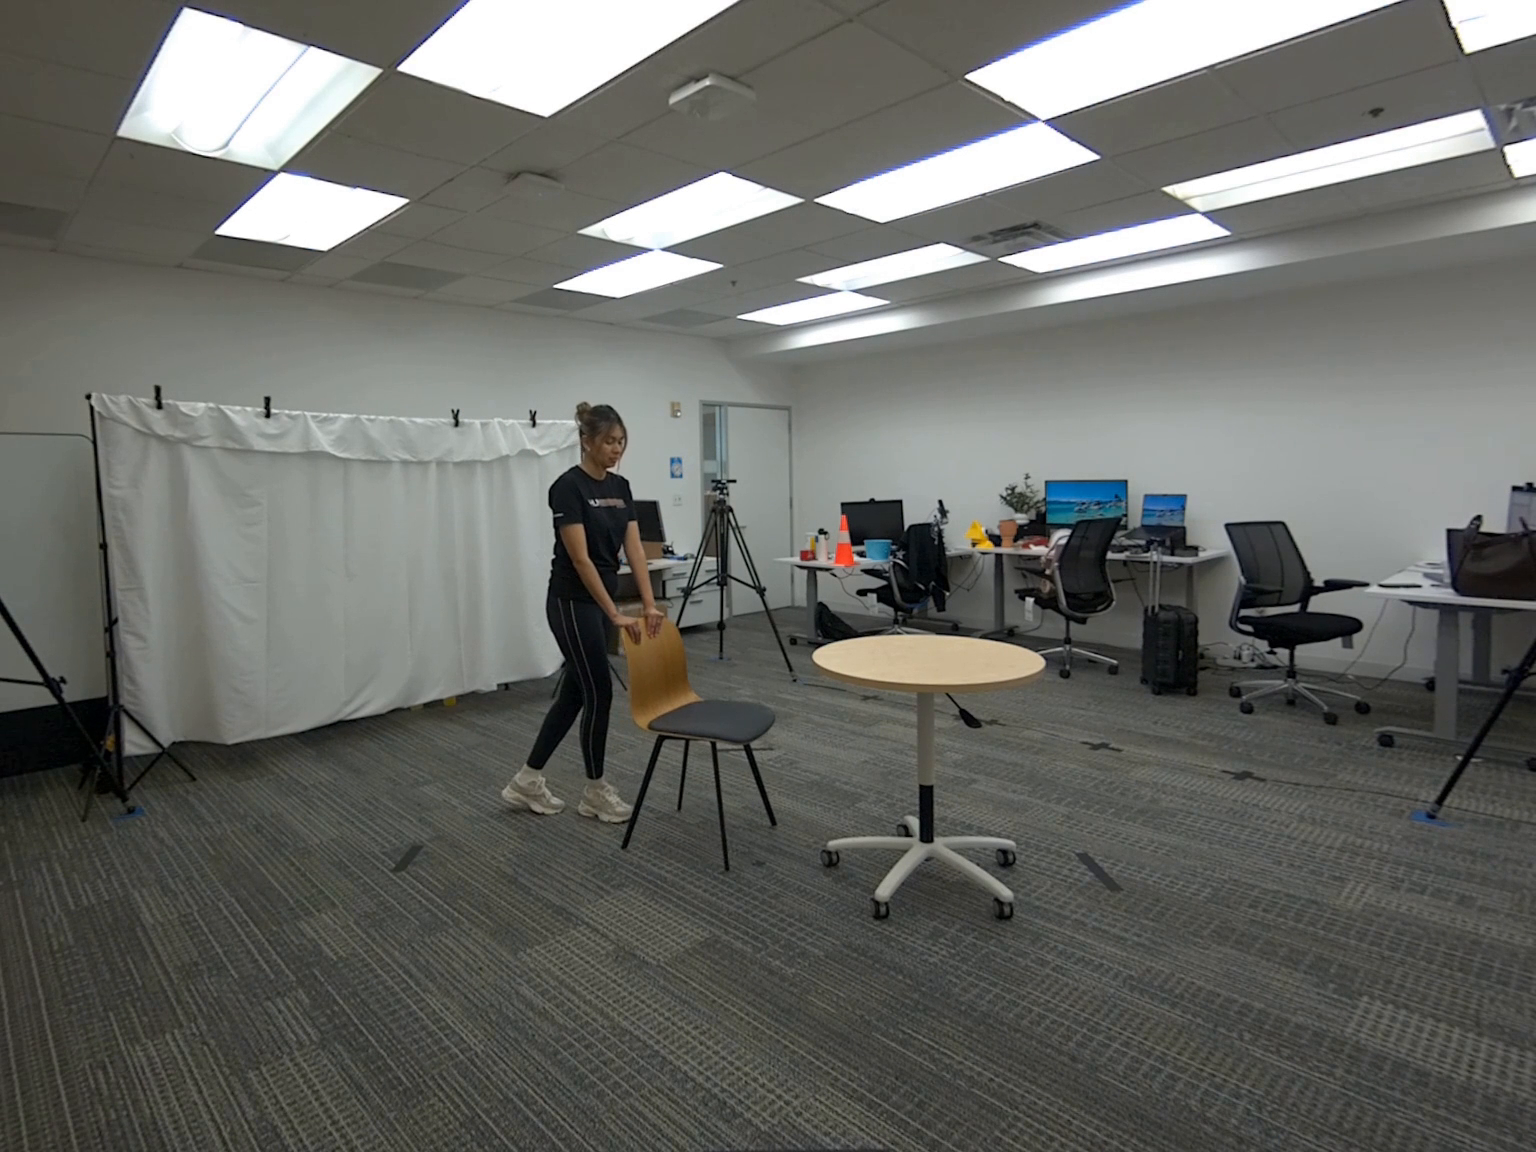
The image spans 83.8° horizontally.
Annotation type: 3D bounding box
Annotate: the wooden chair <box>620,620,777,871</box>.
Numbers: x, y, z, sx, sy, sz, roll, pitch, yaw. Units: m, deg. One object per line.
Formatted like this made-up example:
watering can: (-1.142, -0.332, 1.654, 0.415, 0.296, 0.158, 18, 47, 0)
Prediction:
wooden chair: (-0.259, 0.600, 3.318, 0.534, 0.876, 0.468, -4, 2, 26)
